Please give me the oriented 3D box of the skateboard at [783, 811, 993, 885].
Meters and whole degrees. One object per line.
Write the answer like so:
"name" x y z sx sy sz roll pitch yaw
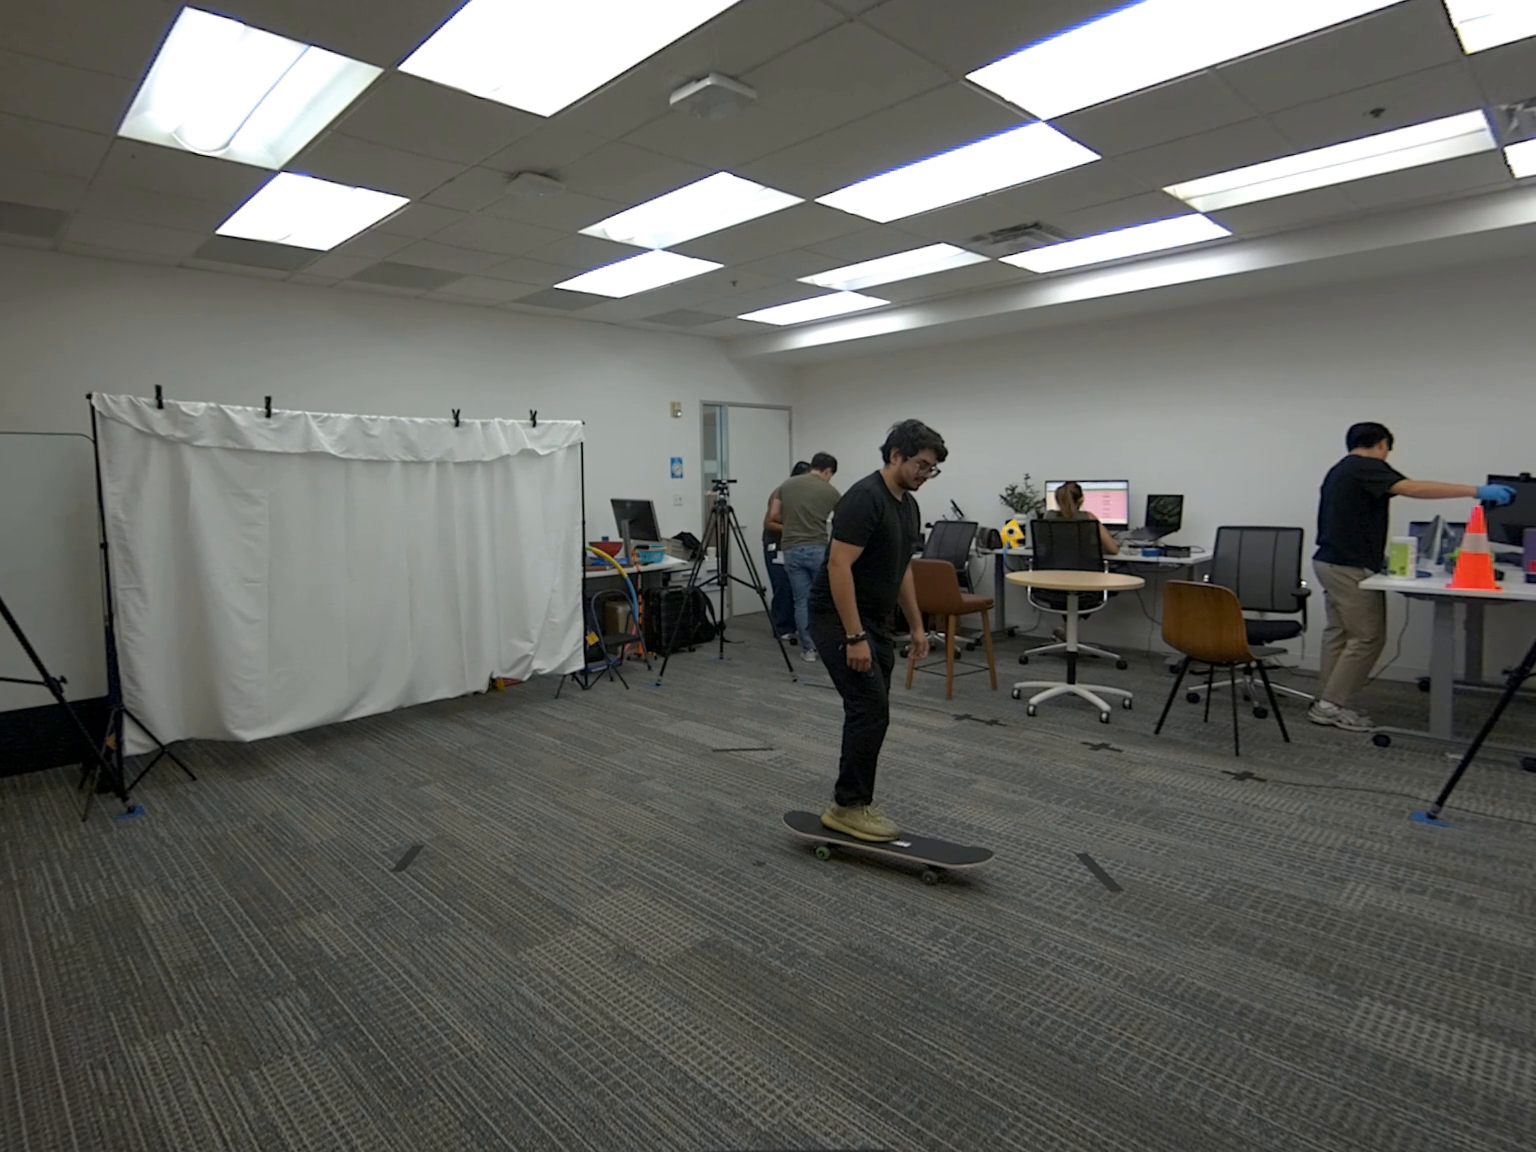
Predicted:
"skateboard" 0.421 0.987 3.096 0.806 0.110 0.189 2 5 30
